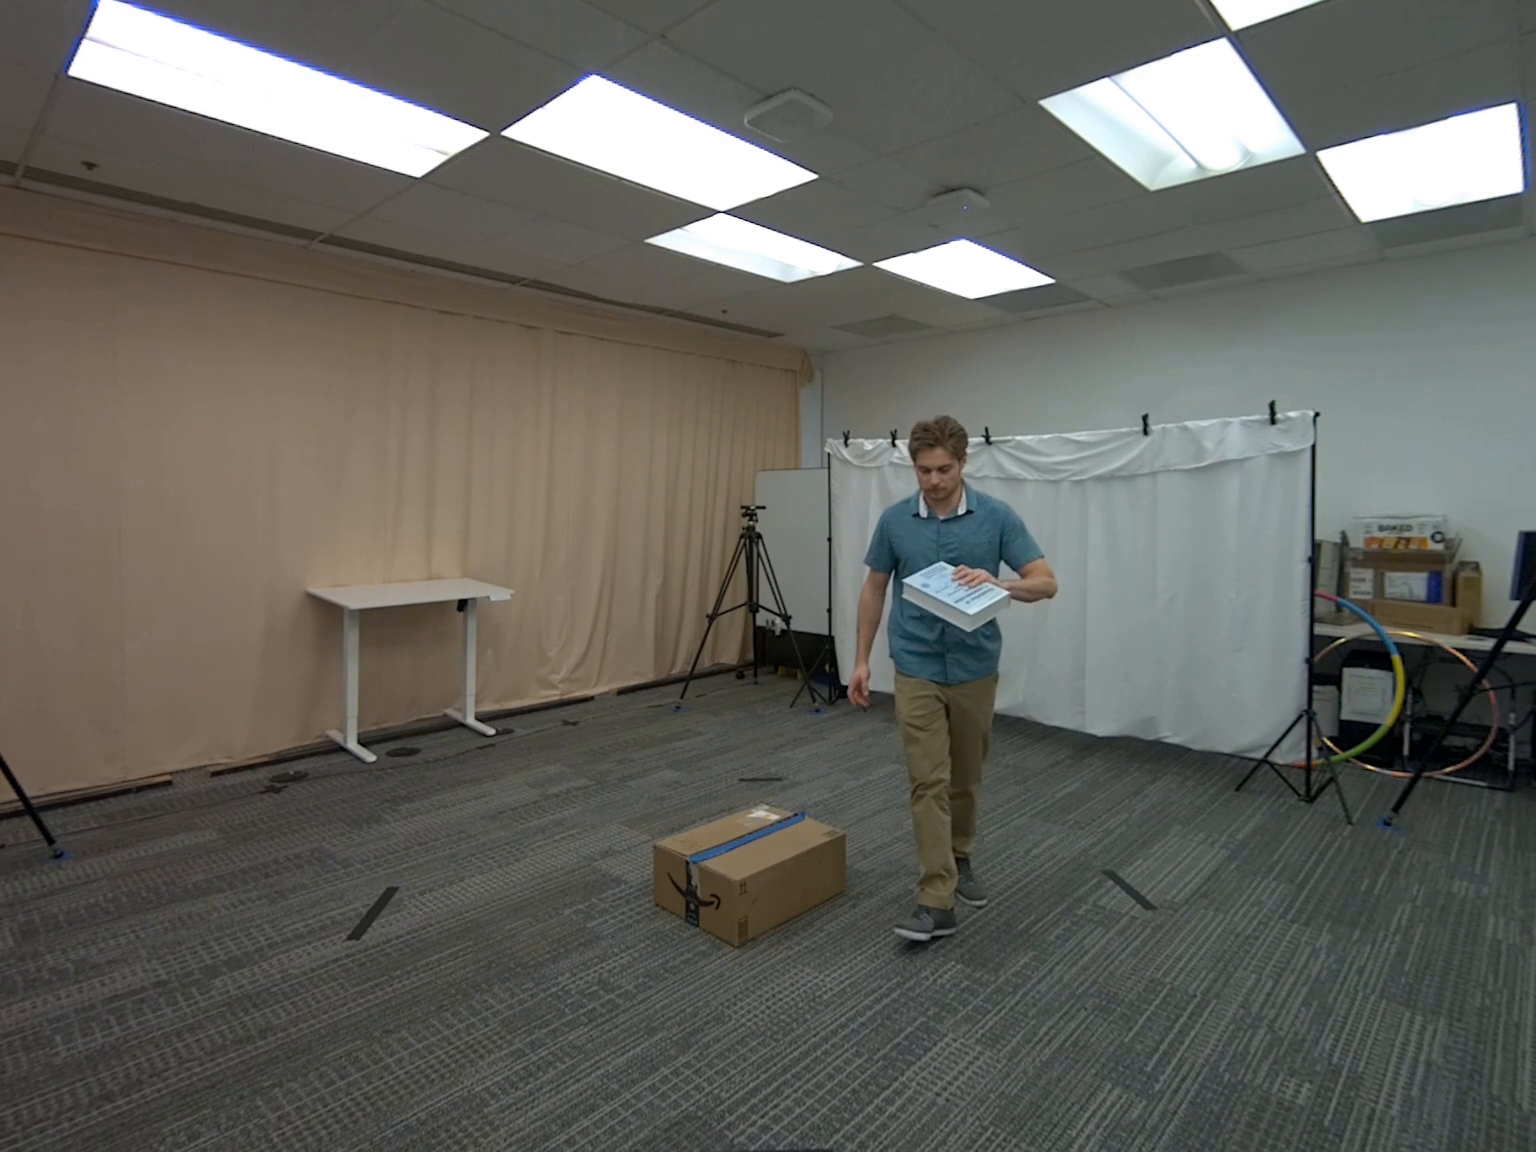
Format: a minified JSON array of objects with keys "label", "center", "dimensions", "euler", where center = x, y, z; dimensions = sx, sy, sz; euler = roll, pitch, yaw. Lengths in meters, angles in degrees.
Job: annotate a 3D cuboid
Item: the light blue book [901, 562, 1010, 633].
[{"label":"light blue book","center":[0.562,0.059,2.552],"dimensions":[0.187,0.058,0.271],"euler":[-24,35,-32]}]
